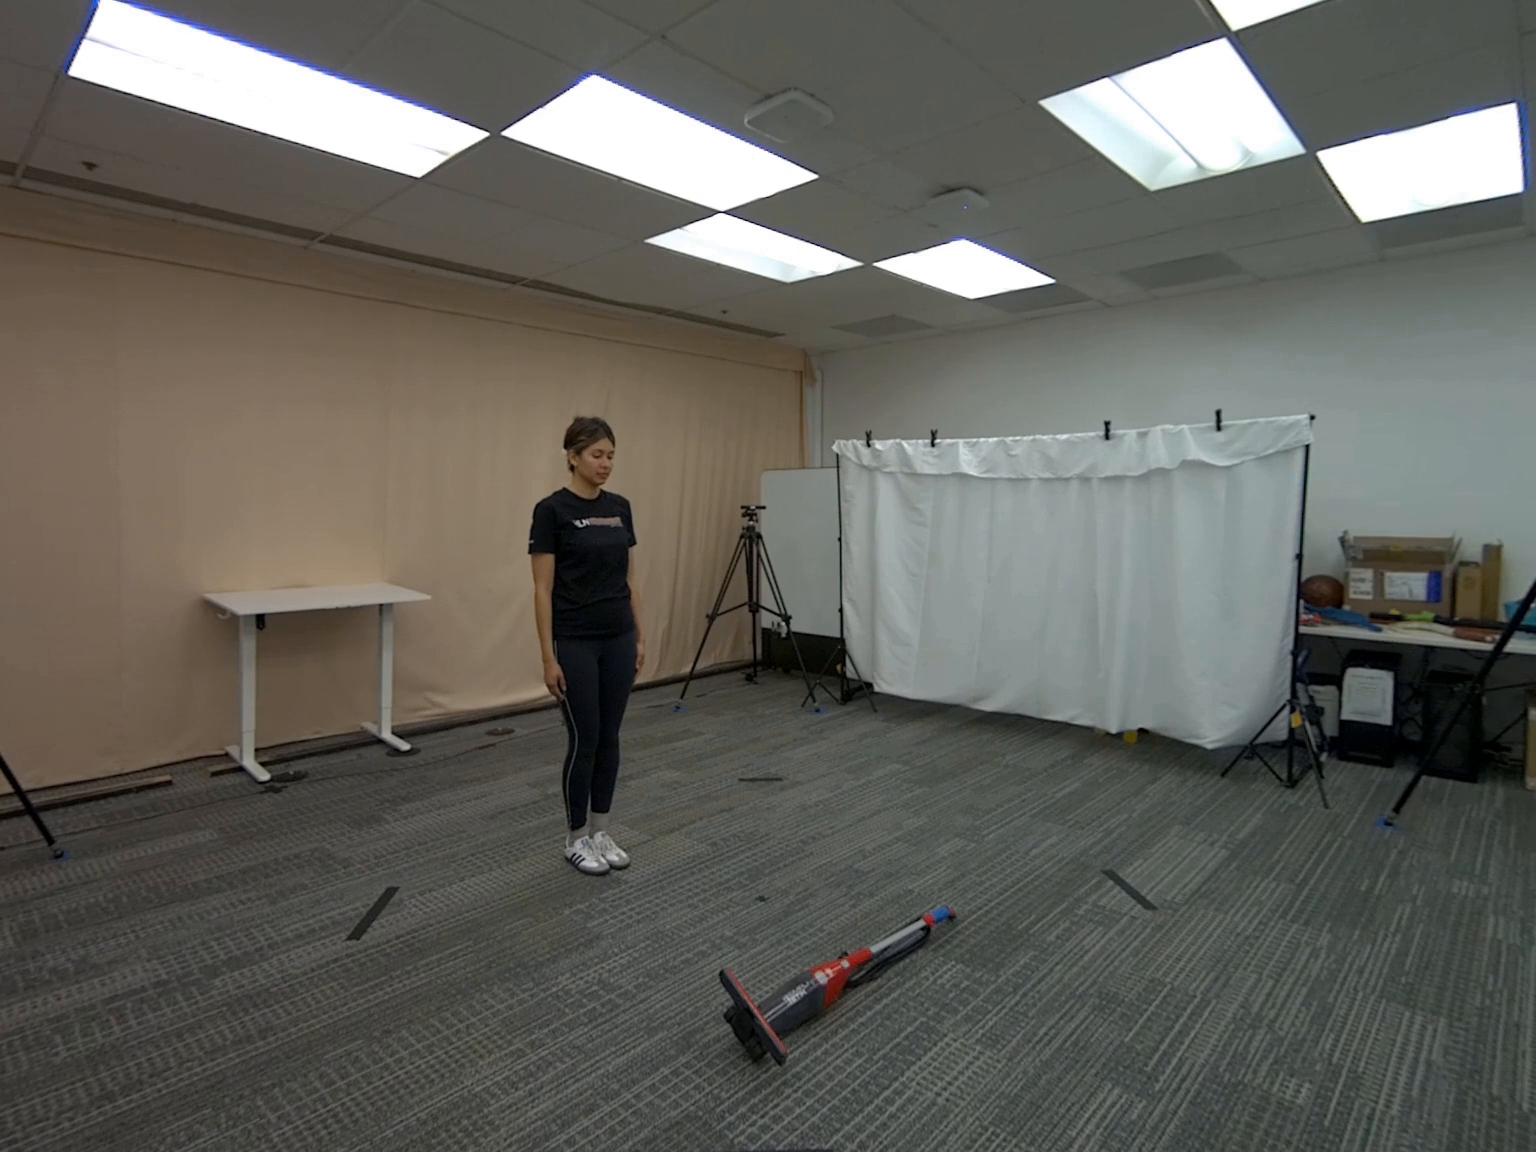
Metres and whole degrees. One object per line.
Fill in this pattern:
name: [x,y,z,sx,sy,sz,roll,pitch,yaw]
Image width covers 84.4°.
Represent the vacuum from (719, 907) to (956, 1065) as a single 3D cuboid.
vacuum: [0.287,1.140,2.471,1.015,0.144,0.261,3,30,-47]
